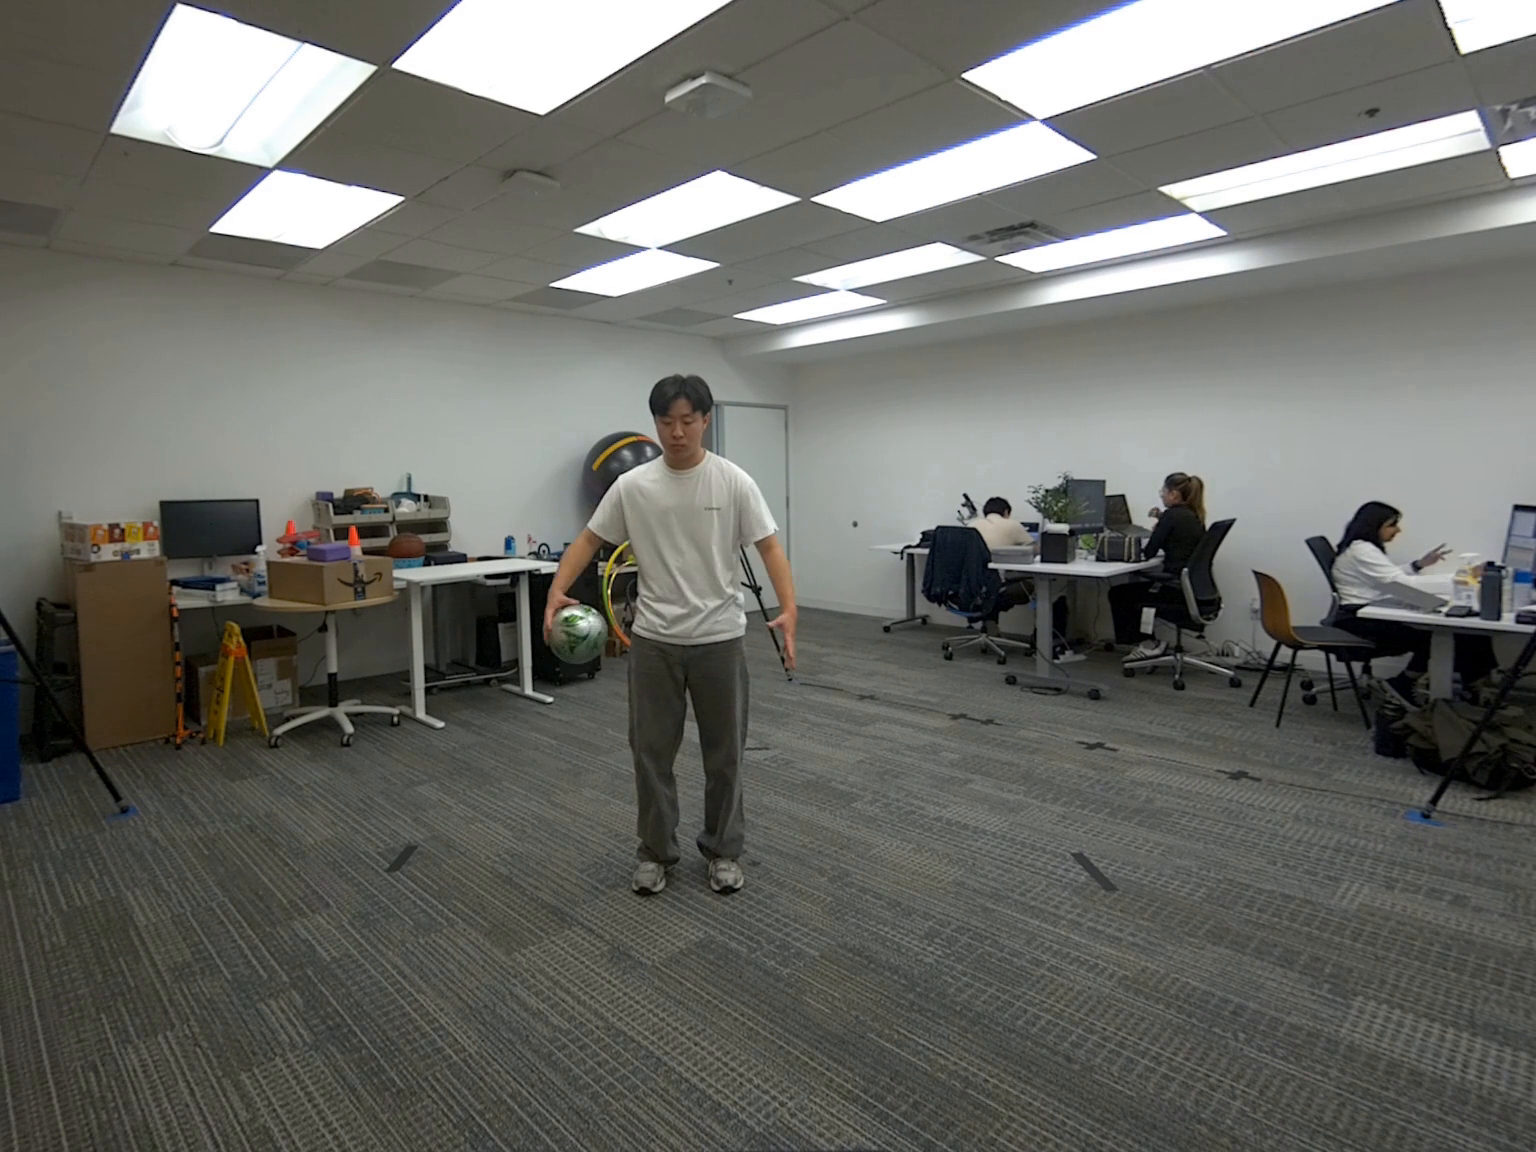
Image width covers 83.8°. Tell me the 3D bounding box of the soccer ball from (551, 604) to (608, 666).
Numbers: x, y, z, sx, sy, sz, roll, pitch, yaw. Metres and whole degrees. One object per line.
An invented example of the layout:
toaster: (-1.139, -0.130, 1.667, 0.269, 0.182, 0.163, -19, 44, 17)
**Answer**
soccer ball: (-0.555, 0.181, 2.745, 0.187, 0.187, 0.188, -1, 5, -2)
